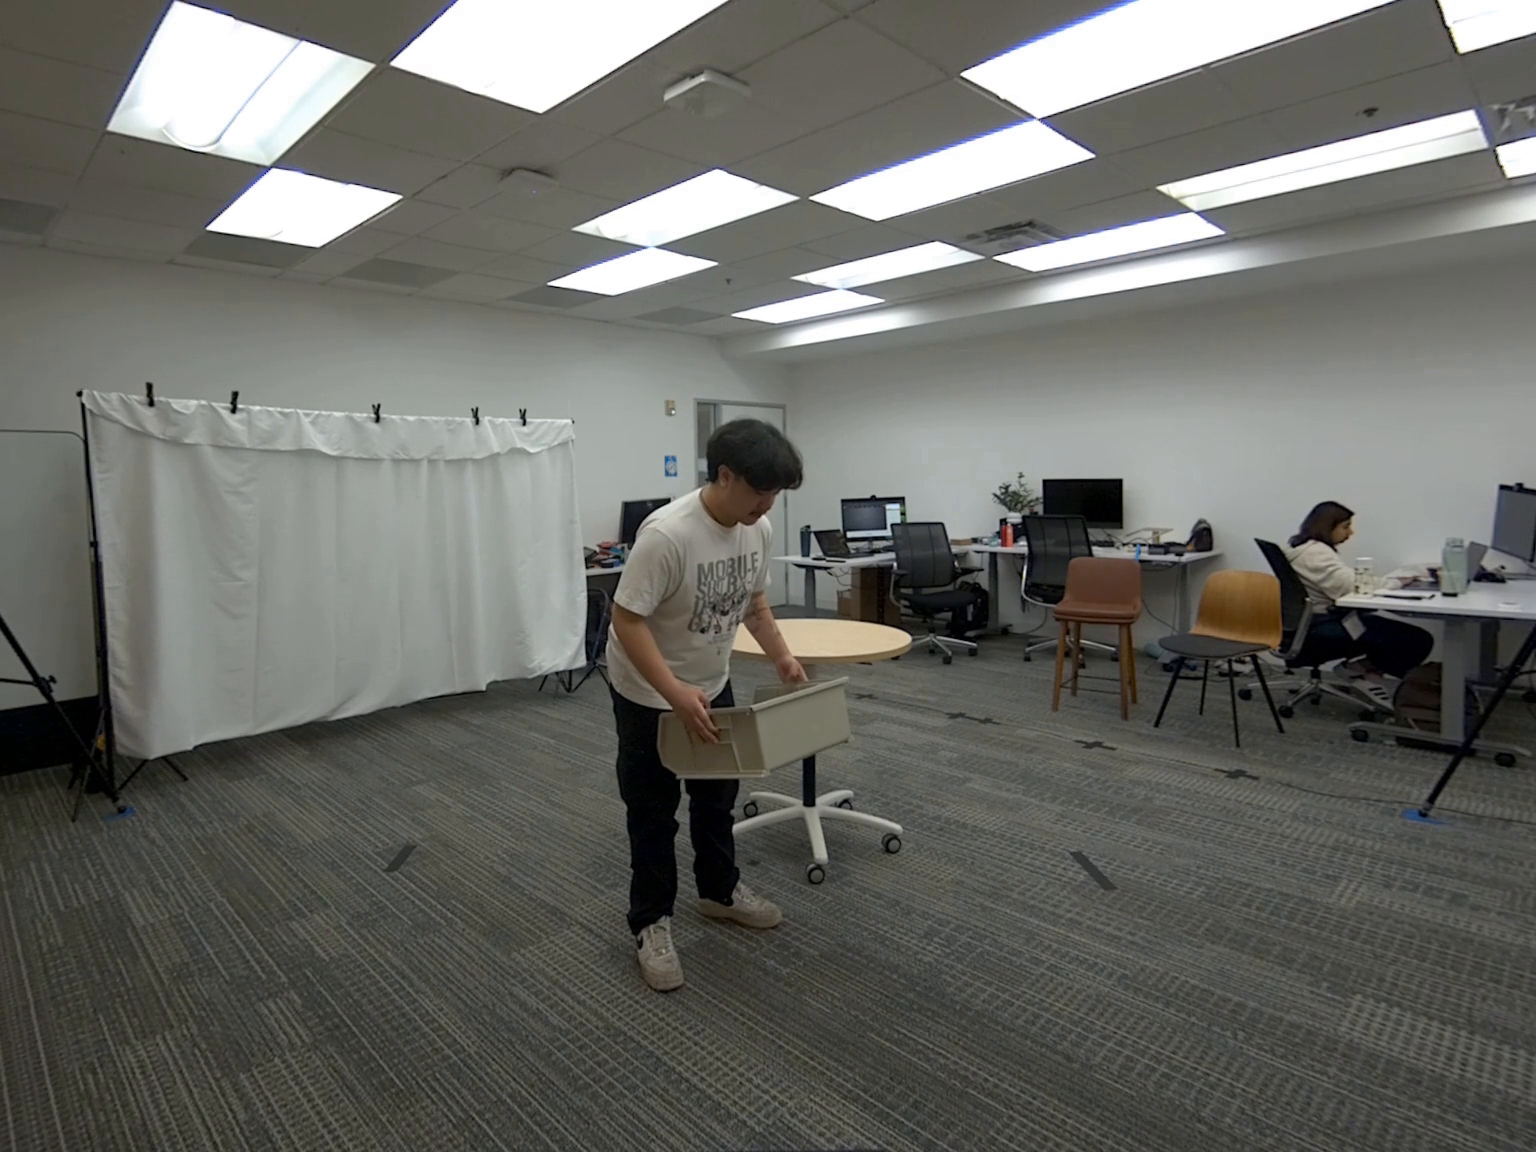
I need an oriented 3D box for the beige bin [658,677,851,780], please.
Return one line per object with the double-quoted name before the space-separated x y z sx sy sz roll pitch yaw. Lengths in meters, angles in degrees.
"beige bin" -0.031 0.425 2.374 0.386 0.190 0.411 -11 -3 40
